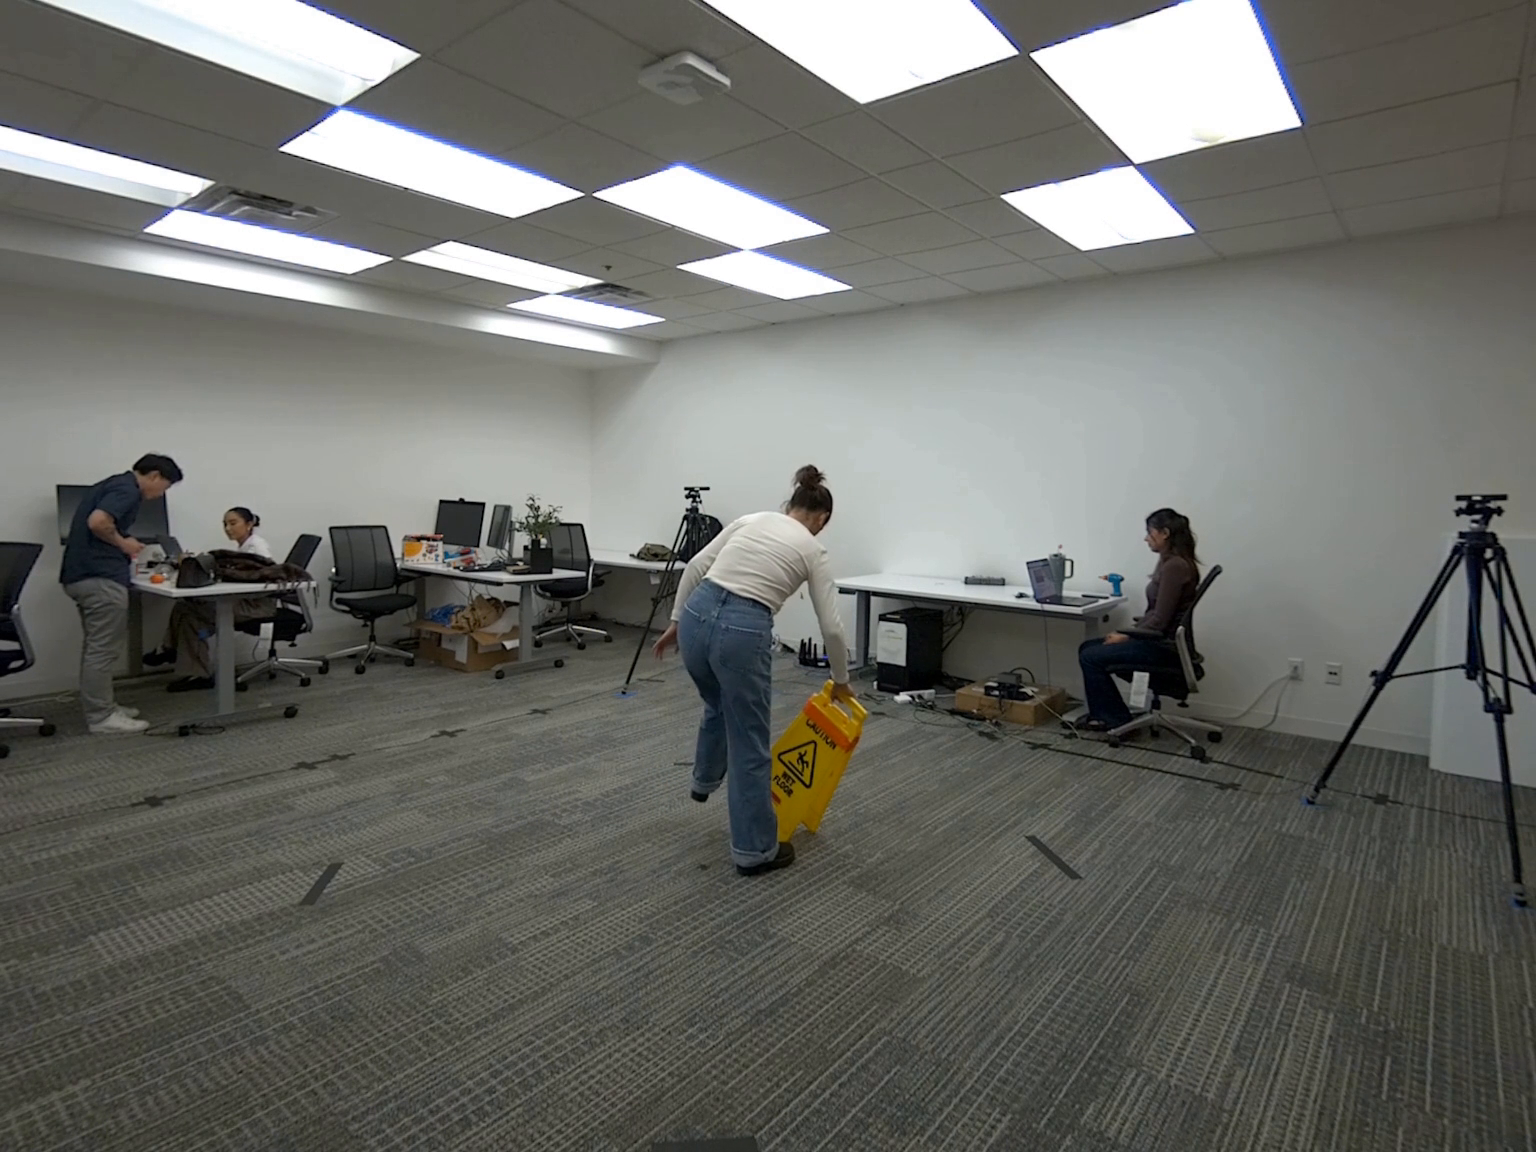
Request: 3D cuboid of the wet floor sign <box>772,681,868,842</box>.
[{"bbox_3d":[0.151,0.710,3.309,0.293,0.641,0.281,39,24,28],"label":"wet floor sign"}]
